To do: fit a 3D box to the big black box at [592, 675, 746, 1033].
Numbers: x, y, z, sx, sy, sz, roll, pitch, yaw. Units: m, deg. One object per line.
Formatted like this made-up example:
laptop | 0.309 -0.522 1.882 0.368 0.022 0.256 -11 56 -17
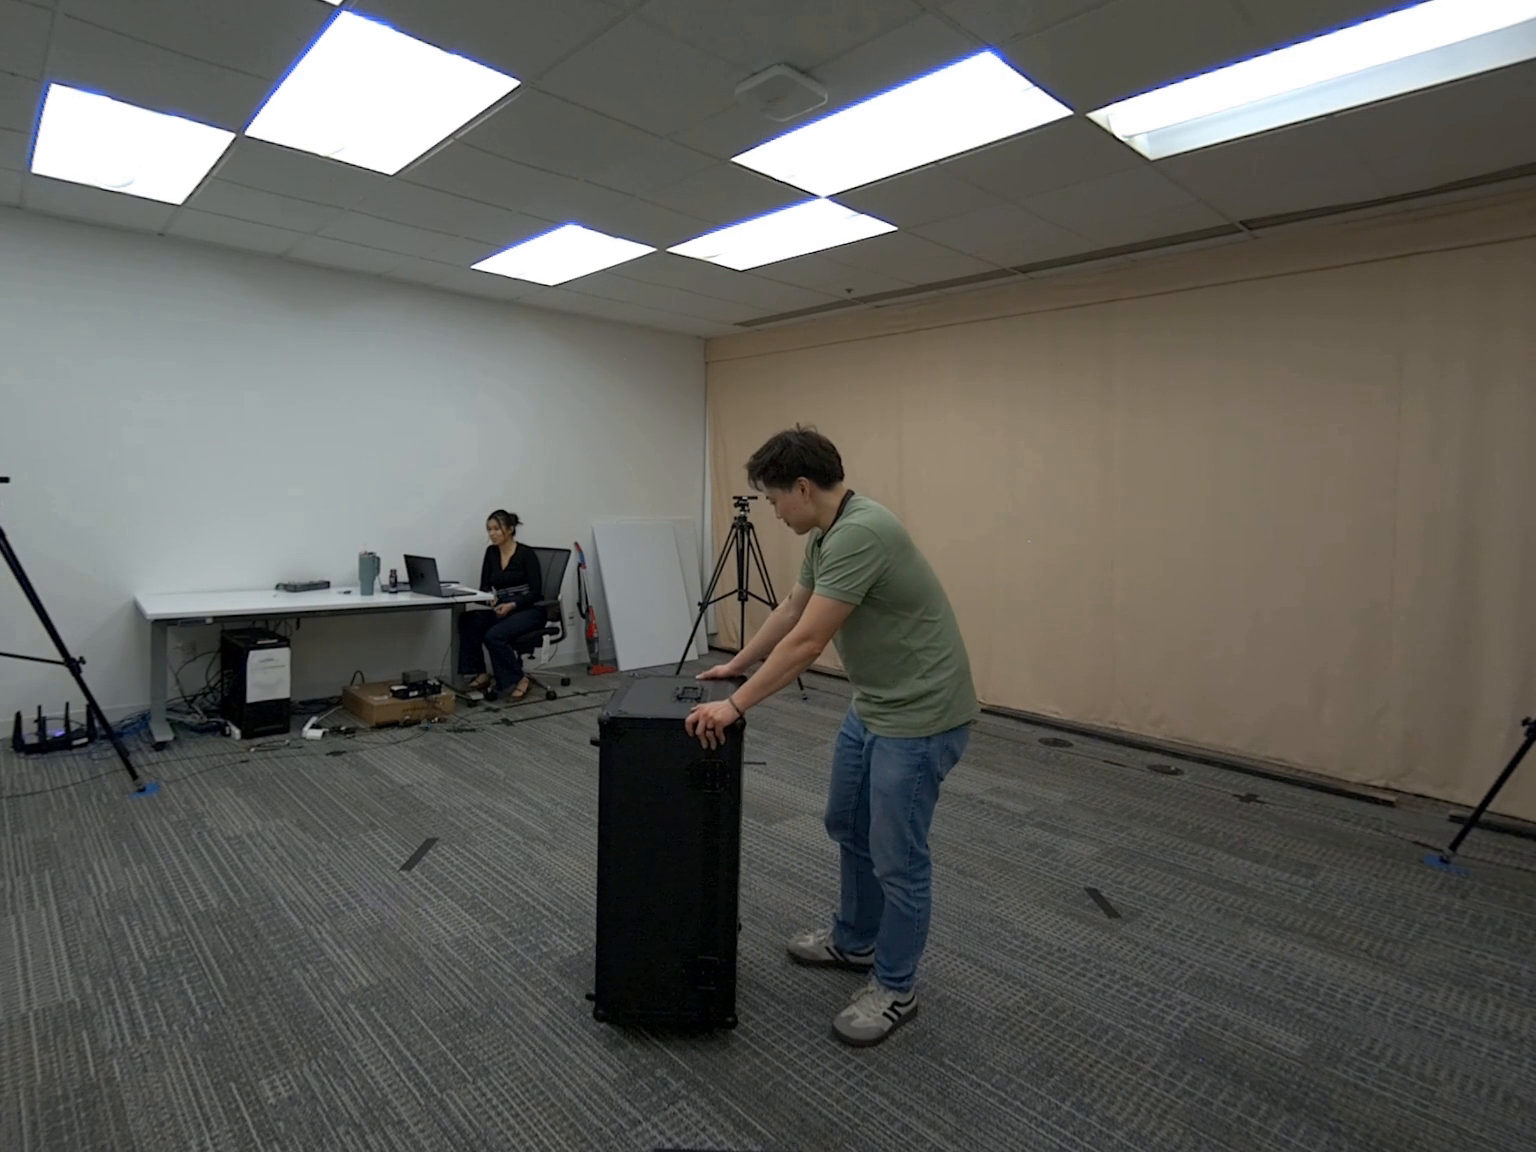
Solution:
big black box | -0.267 0.754 2.312 0.396 0.858 0.523 0 5 0
